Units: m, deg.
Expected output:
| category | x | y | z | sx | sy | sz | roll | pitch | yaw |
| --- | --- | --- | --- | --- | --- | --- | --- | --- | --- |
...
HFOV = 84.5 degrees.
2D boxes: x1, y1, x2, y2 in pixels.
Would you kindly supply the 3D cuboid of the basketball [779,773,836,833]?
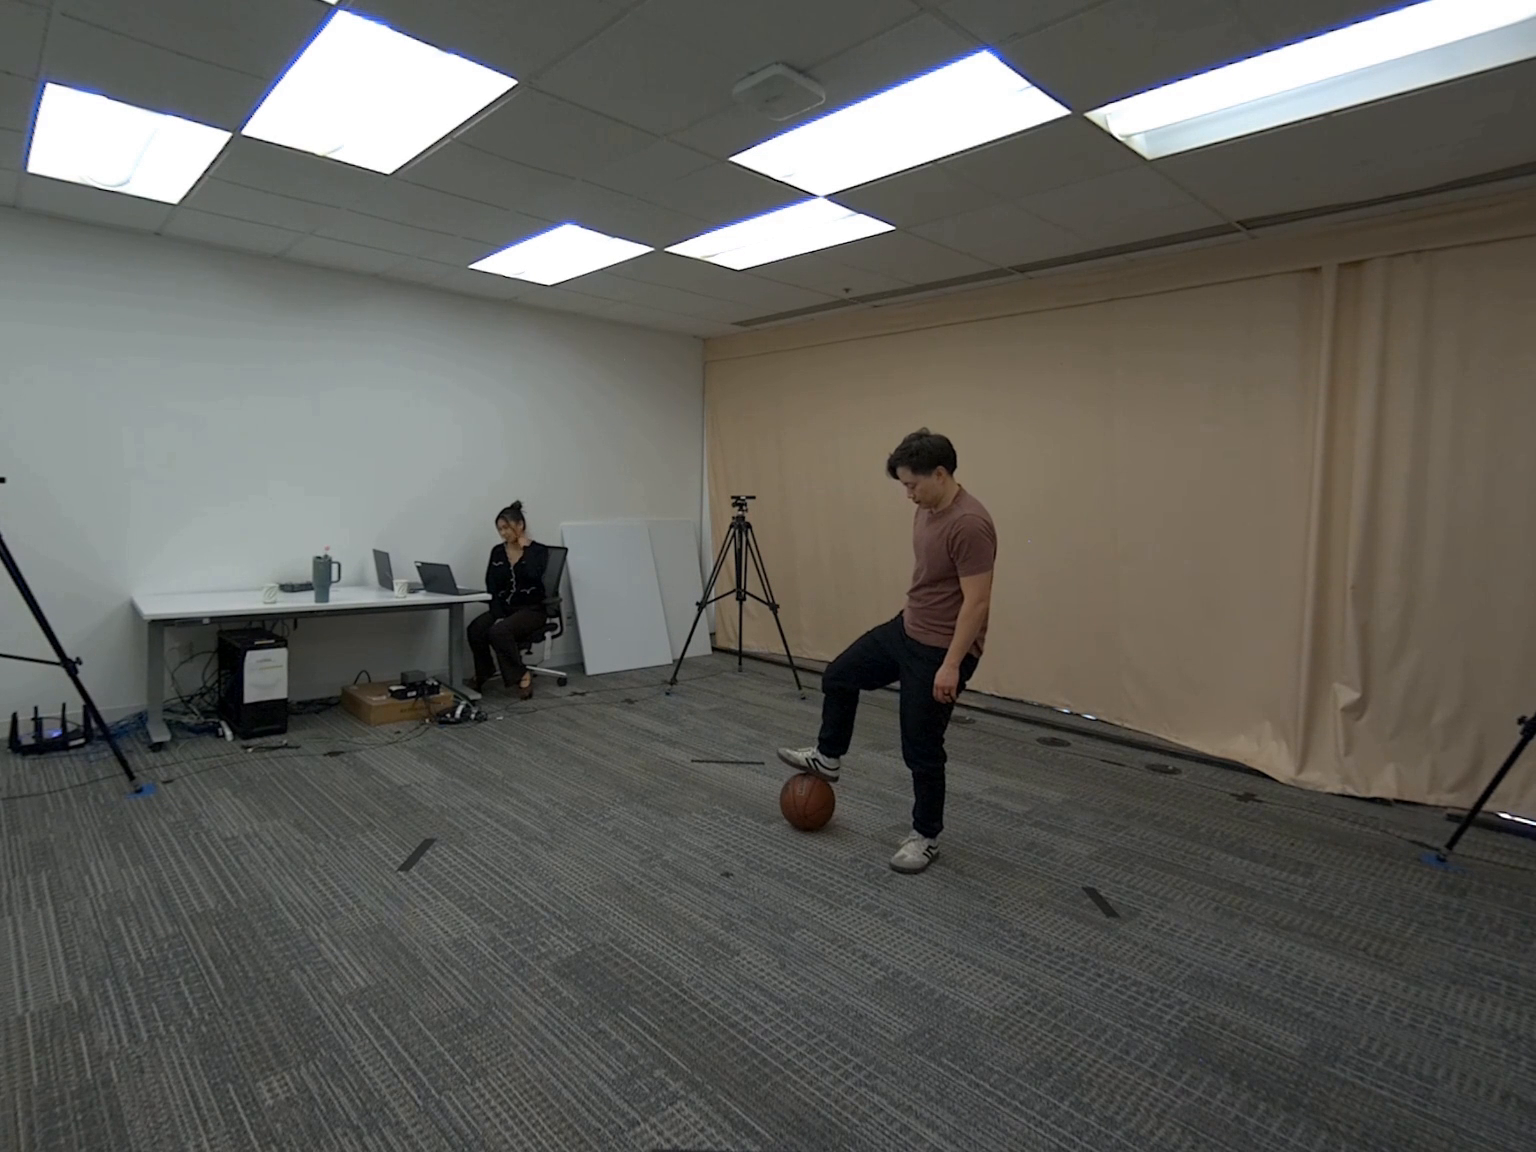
| category | x | y | z | sx | sy | sz | roll | pitch | yaw |
| --- | --- | --- | --- | --- | --- | --- | --- | --- | --- |
| basketball | 0.160 | 0.953 | 3.562 | 0.236 | 0.235 | 0.237 | 1 | 4 | -1 |
